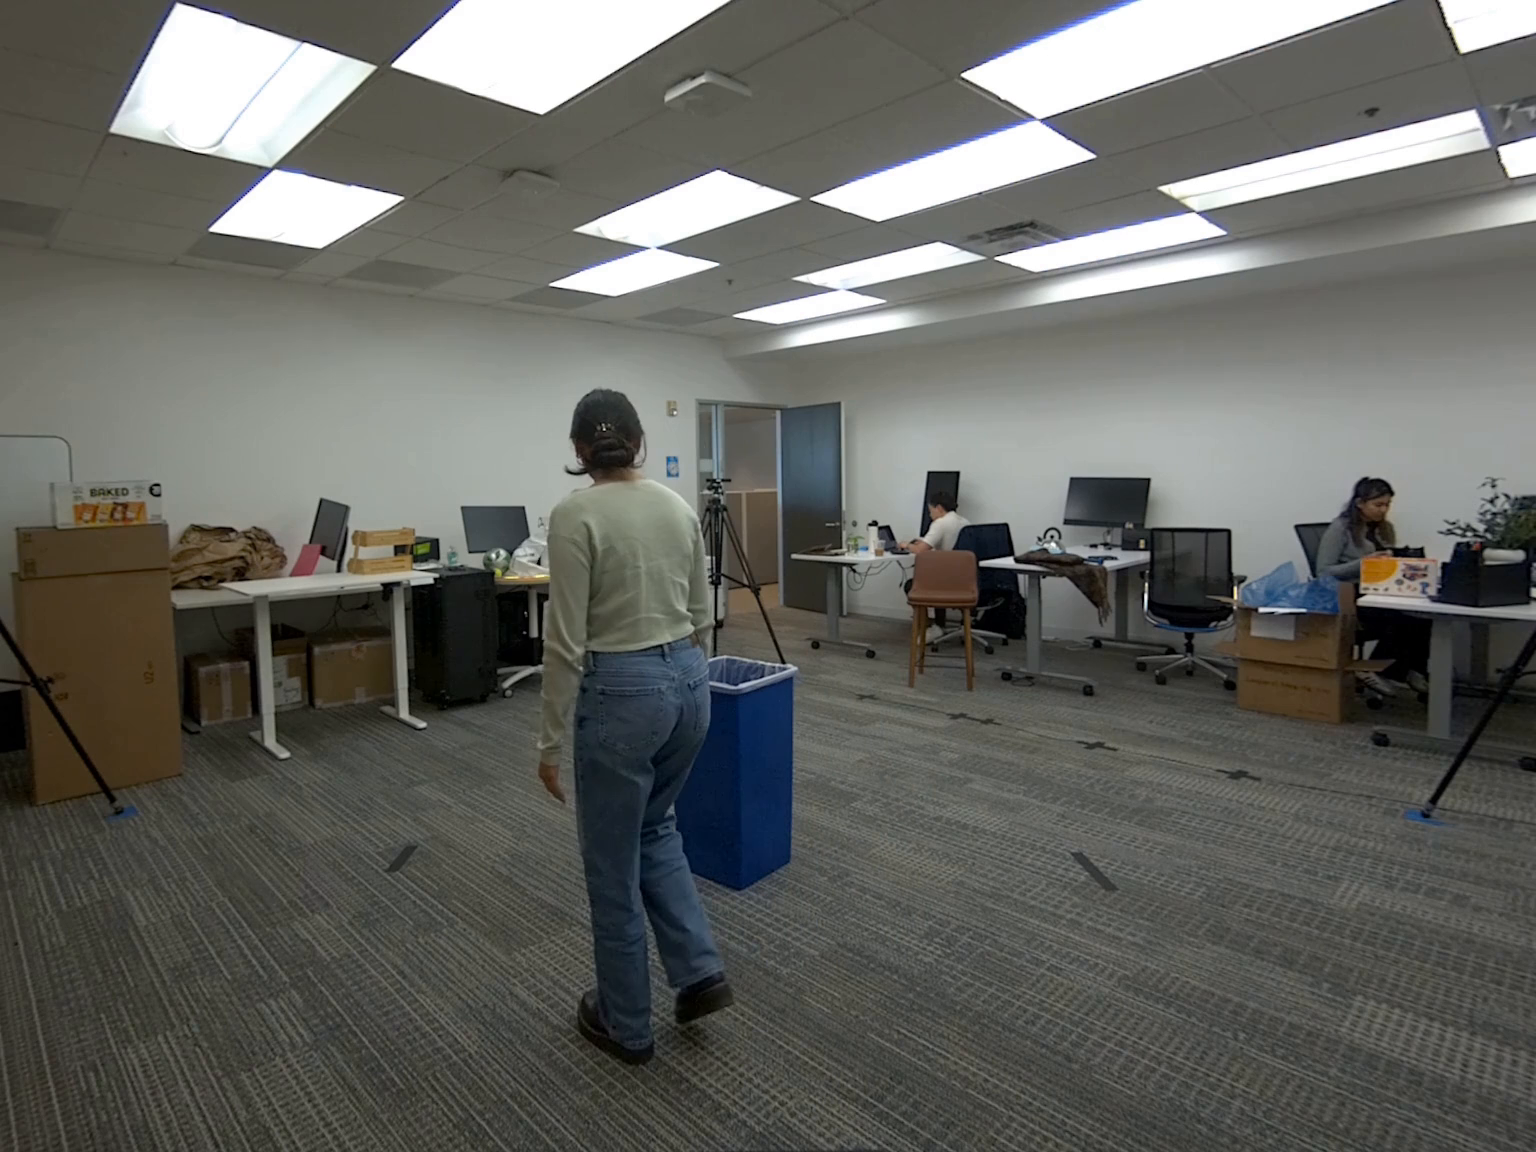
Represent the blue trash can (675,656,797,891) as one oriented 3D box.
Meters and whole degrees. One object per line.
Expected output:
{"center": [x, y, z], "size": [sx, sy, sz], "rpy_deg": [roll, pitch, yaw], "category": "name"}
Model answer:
{"center": [-0.126, 0.690, 3.071], "size": [0.389, 0.711, 0.364], "rpy_deg": [2, 5, 39], "category": "blue trash can"}
